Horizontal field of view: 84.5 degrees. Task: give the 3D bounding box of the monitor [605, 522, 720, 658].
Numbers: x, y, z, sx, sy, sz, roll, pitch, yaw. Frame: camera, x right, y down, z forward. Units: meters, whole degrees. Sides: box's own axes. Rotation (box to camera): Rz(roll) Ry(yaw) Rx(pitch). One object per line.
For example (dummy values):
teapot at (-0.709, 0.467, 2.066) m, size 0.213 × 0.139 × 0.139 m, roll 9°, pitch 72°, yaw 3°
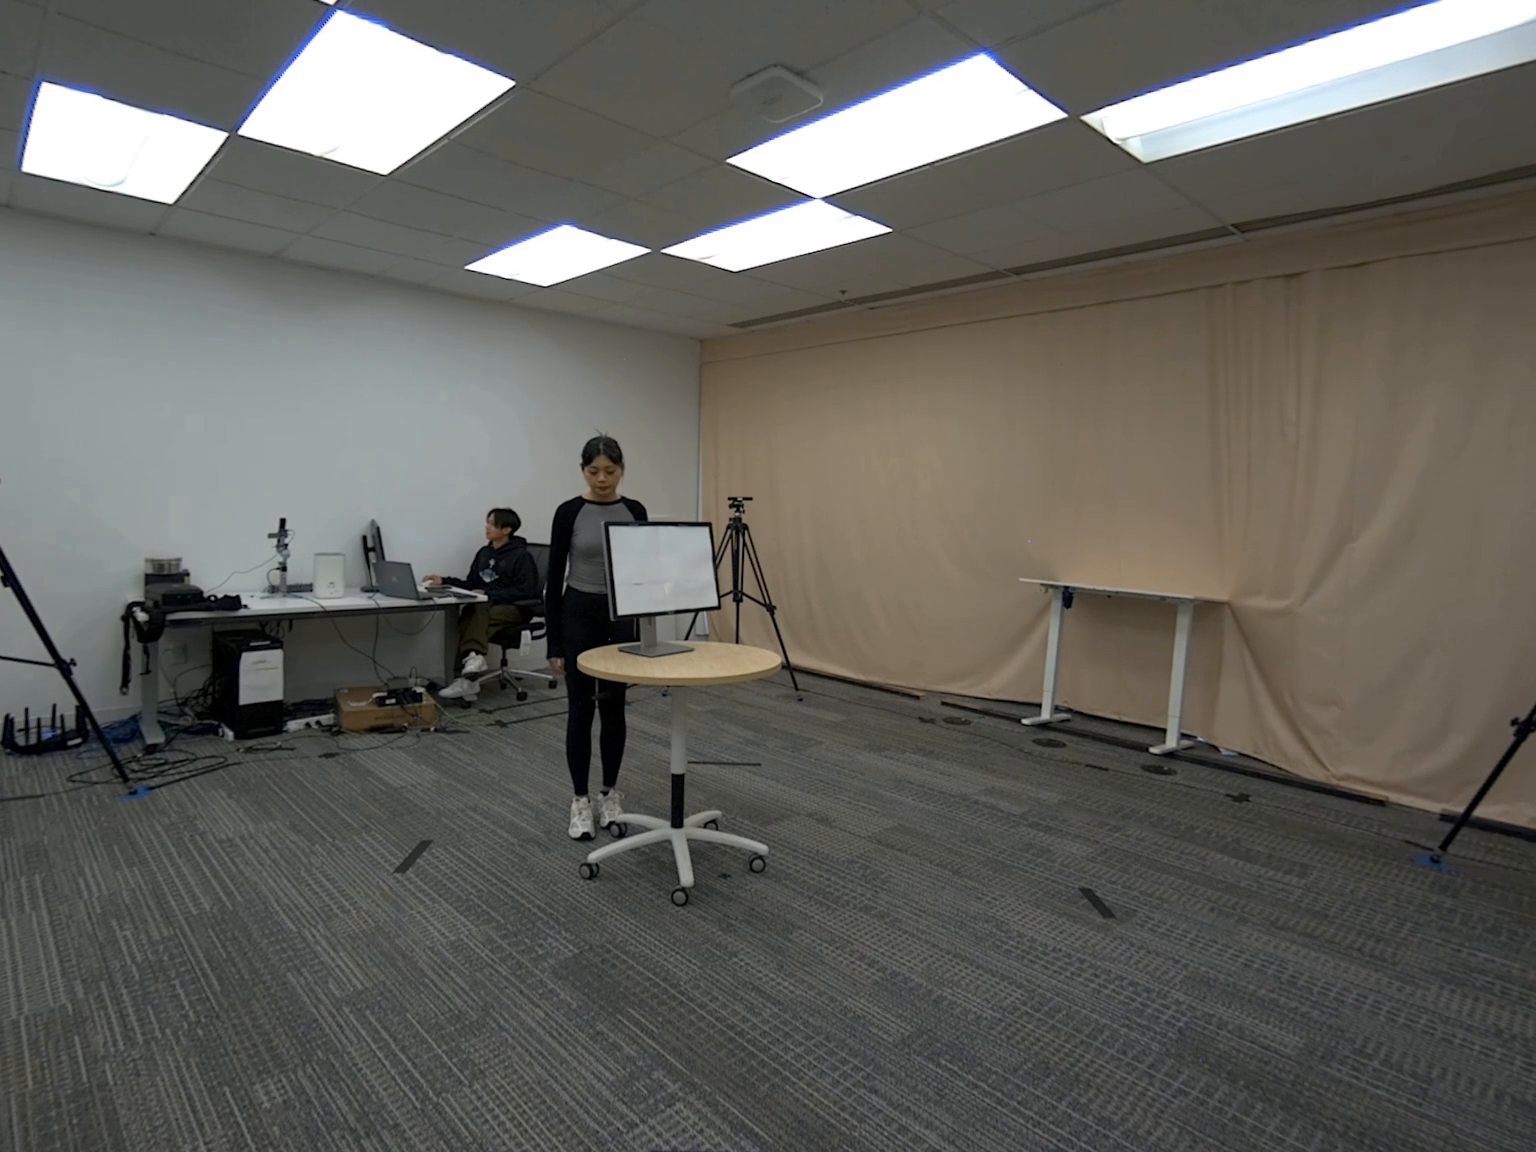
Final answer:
monitor at (-0.434, 0.049, 3.286) m, size 0.179 × 0.514 × 0.517 m, roll 14°, pitch 9°, yaw 40°
